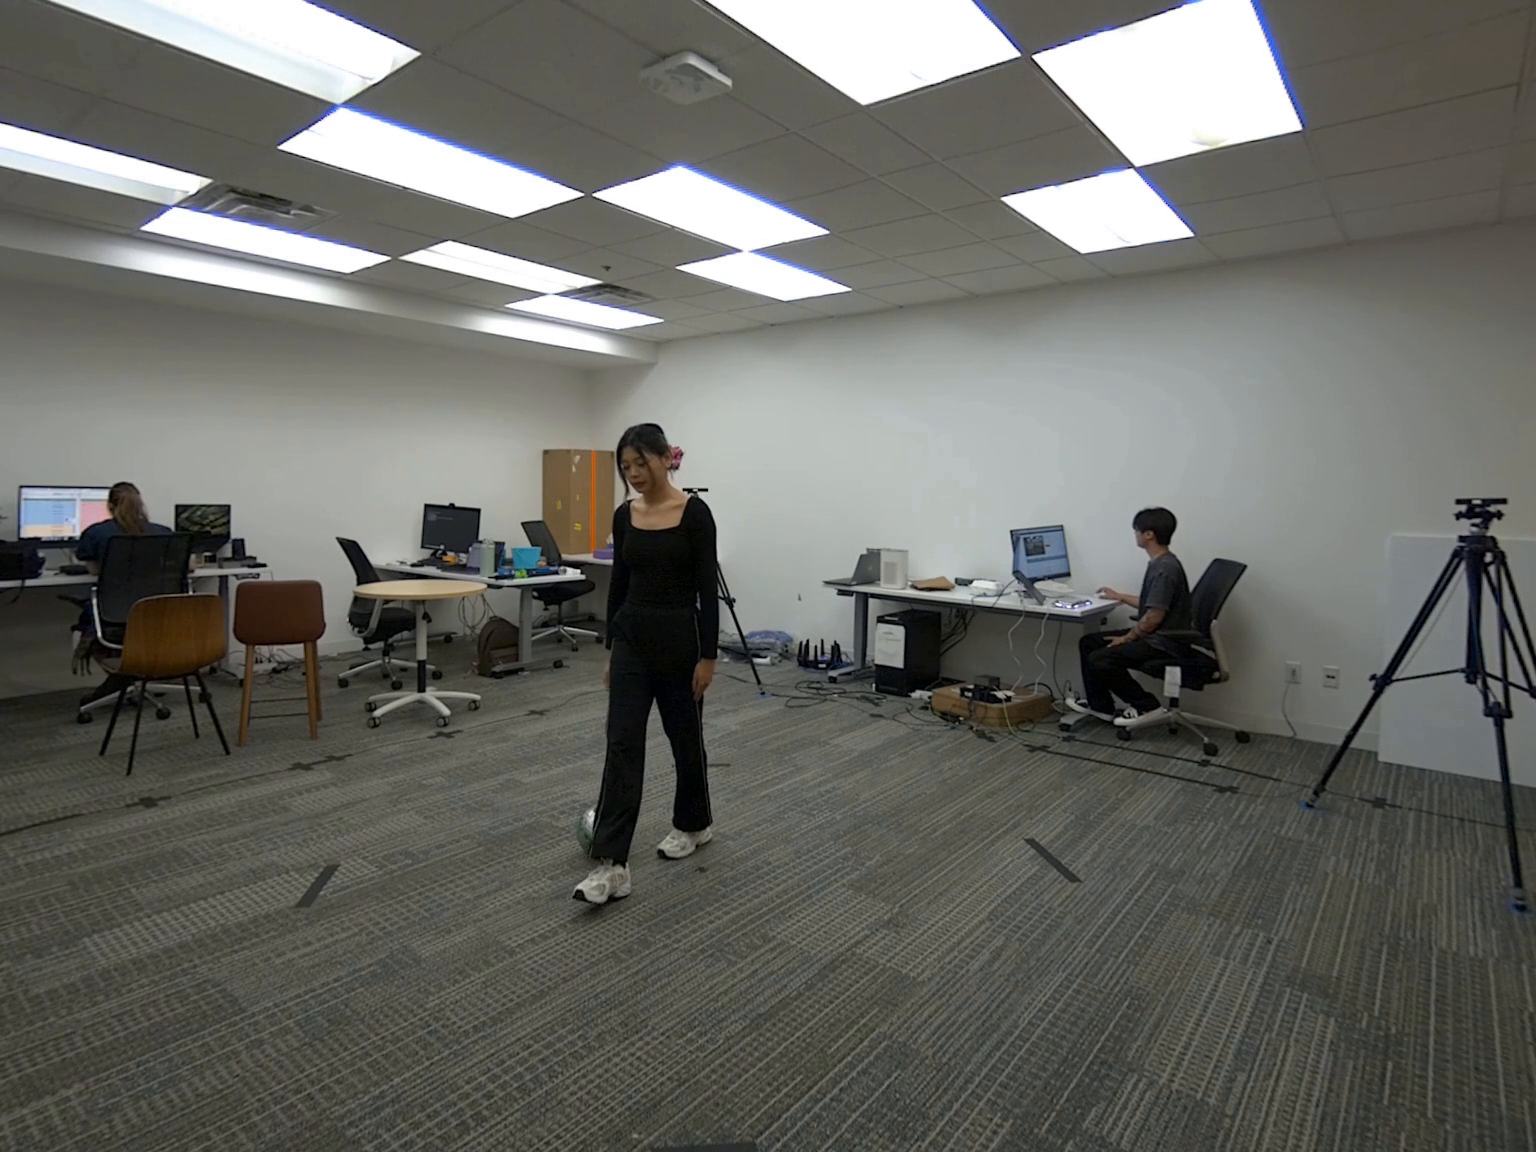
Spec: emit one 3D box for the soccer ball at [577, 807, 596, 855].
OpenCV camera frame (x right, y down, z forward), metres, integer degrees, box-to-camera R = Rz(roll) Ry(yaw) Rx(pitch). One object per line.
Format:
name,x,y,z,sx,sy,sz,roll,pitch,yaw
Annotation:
soccer ball,-0.640,0.956,3.213,0.187,0.187,0.188,1,4,-2
